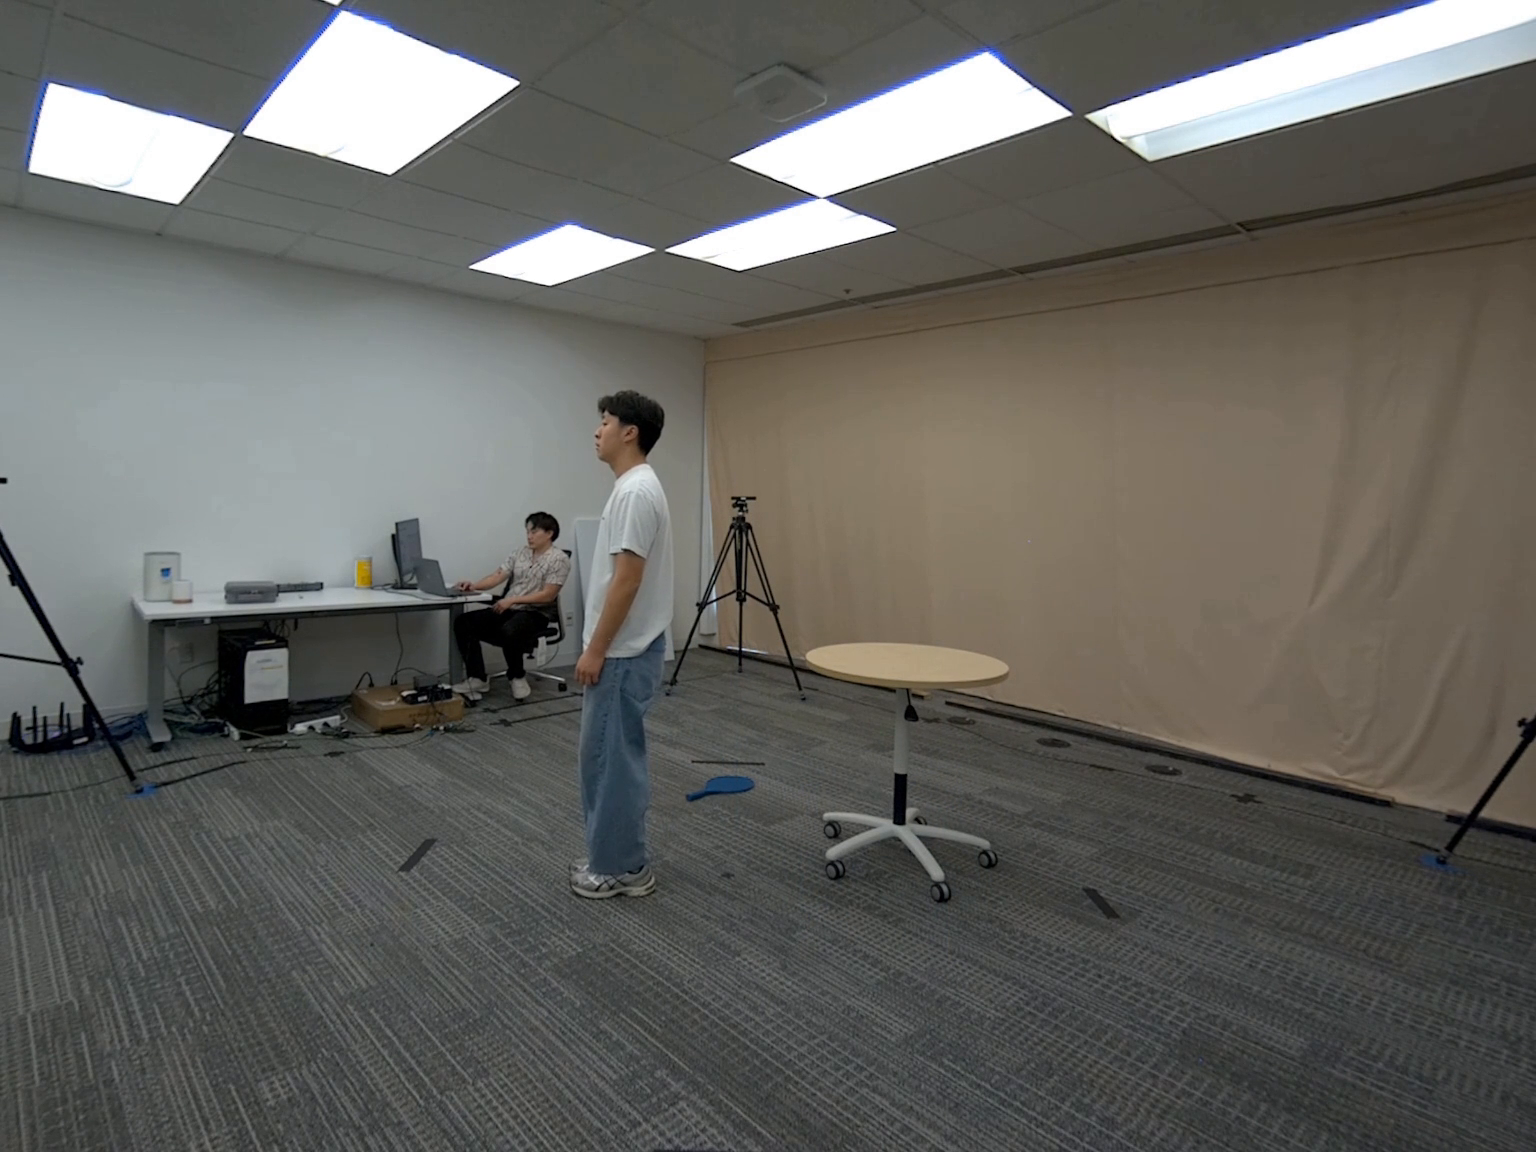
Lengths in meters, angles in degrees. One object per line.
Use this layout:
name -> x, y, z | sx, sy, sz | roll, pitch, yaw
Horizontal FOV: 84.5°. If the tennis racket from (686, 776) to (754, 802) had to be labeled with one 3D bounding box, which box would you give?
tennis racket -> -0.247, 1.011, 4.027 | 0.219, 0.032, 0.423 | 6, 5, 40
